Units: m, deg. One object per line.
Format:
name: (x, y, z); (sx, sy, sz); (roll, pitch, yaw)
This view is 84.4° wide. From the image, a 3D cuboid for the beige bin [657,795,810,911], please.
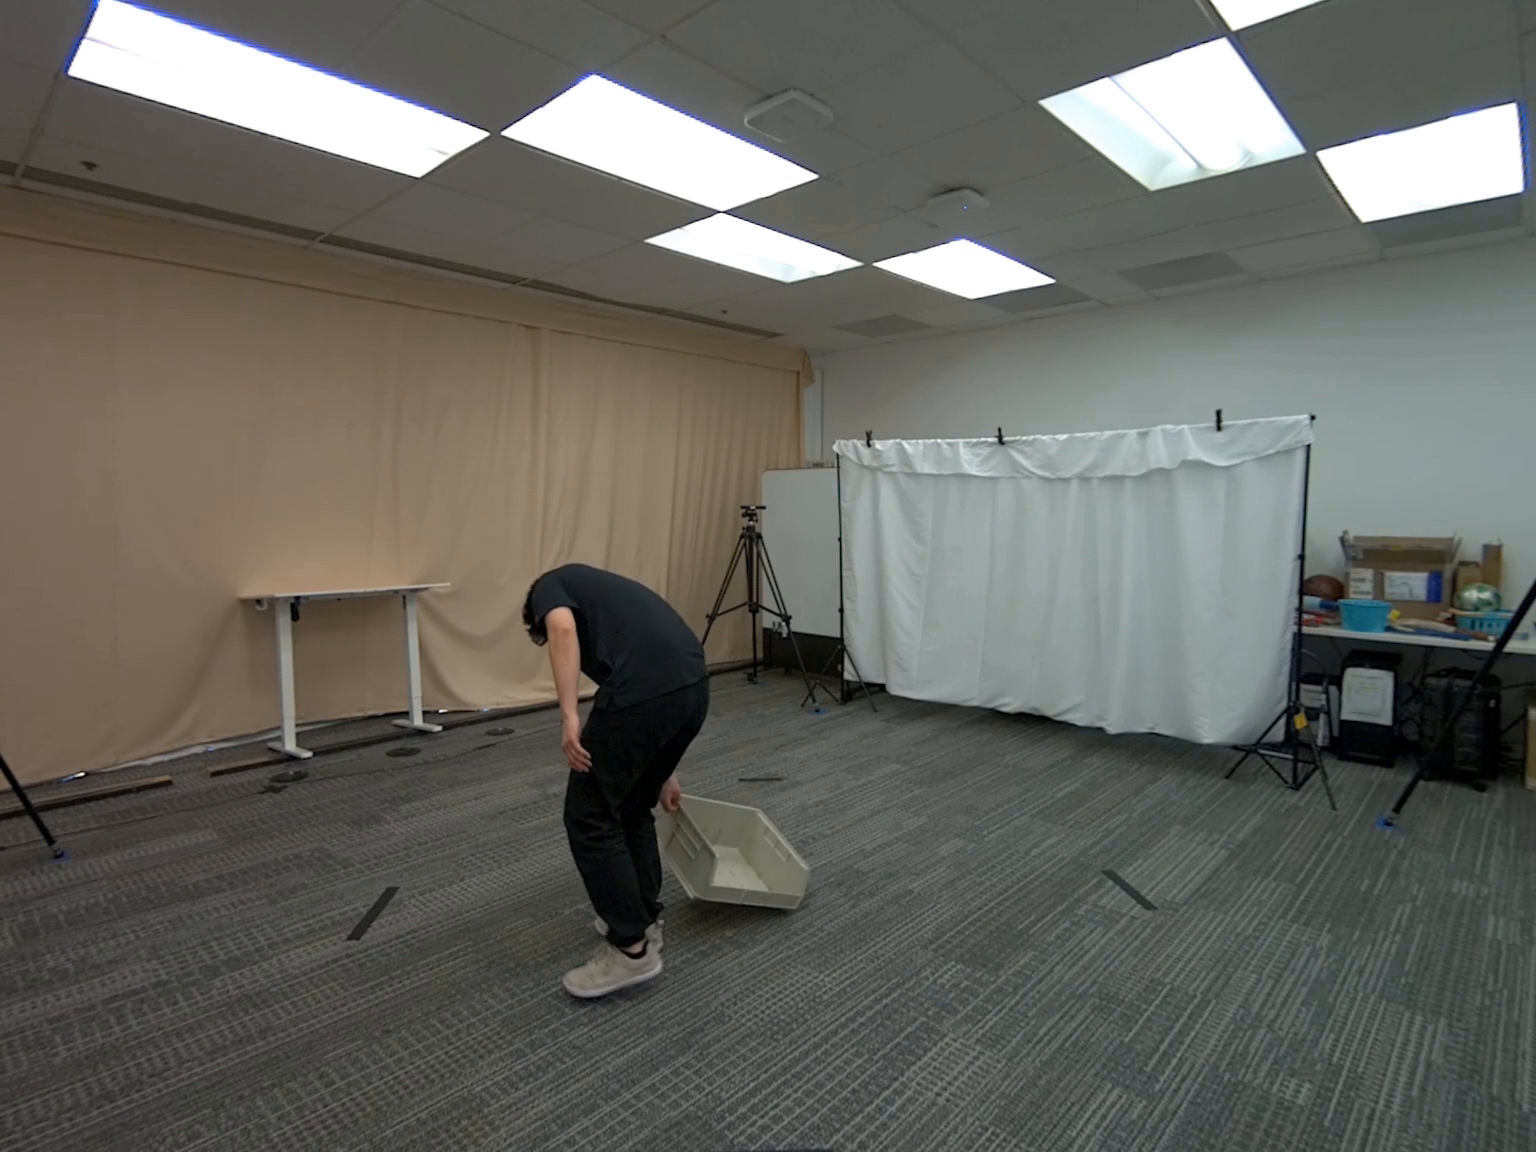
beige bin: (-0.114, 0.964, 2.904); (0.407, 0.189, 0.391); (21, 6, -38)
